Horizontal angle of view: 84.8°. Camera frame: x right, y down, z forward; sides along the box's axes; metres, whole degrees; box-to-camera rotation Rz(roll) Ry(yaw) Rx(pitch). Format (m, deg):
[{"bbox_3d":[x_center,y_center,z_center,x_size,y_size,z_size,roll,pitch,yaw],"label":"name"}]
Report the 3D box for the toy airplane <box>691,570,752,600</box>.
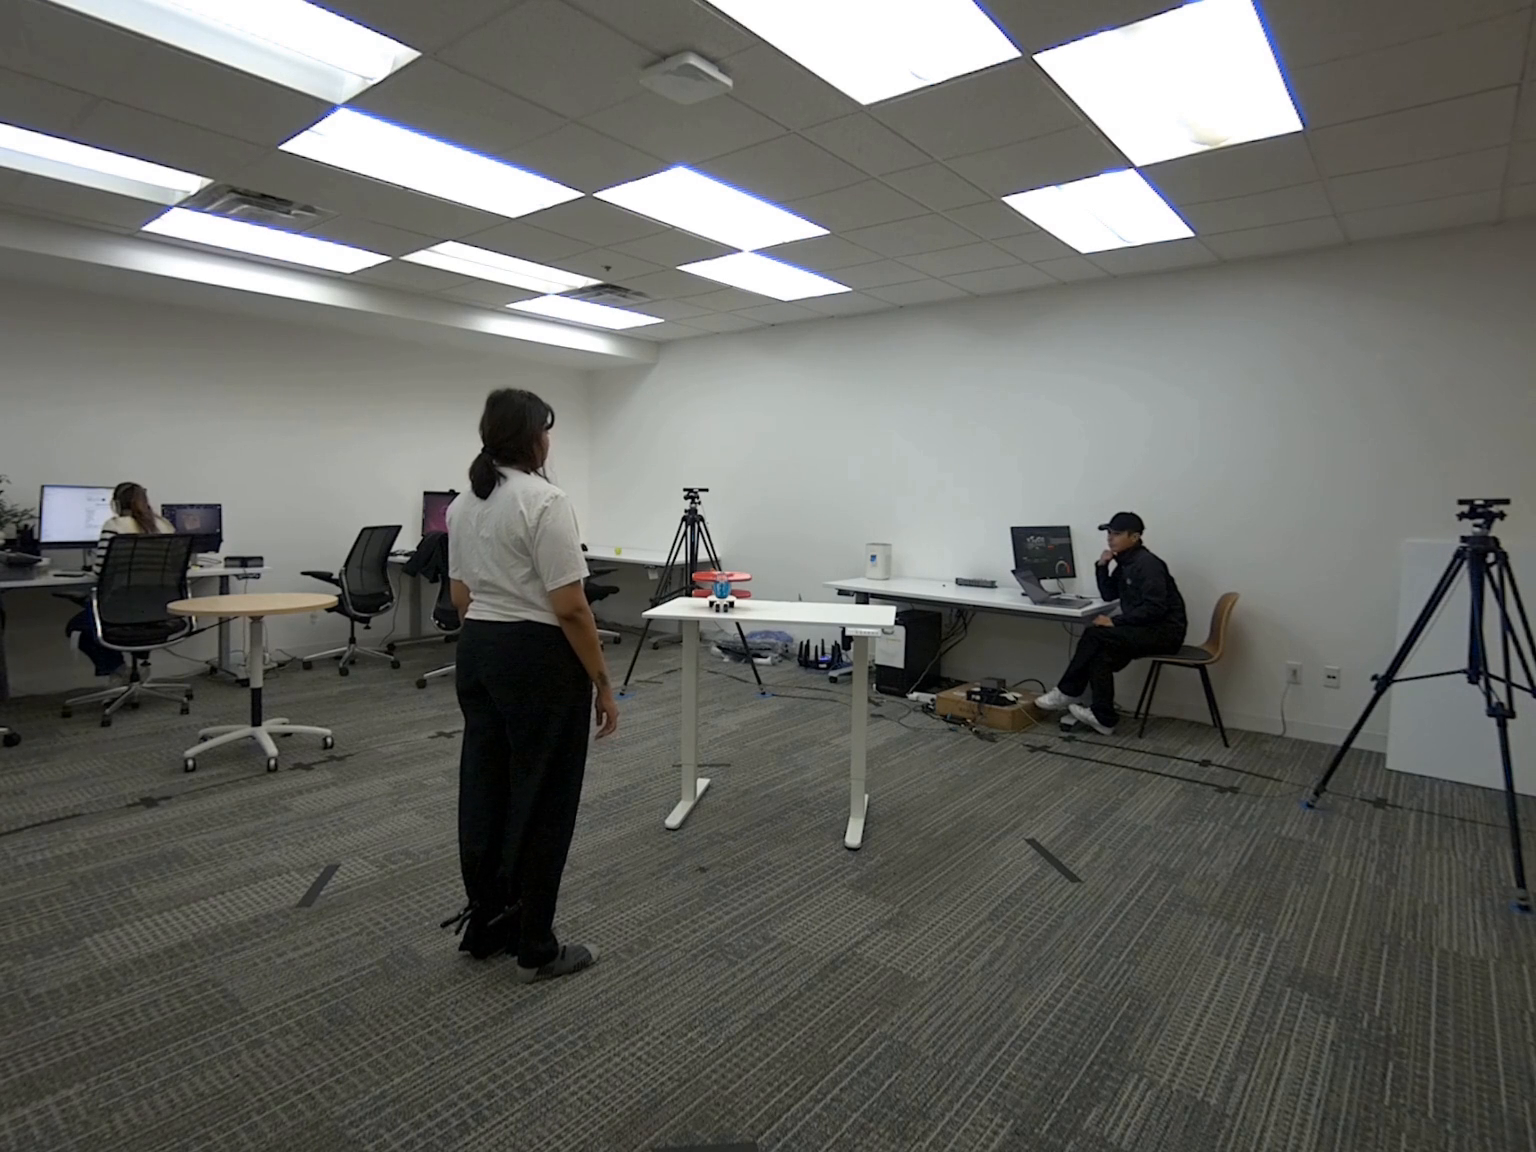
[{"bbox_3d":[-0.192,0.059,3.639,0.244,0.156,0.267,0,3,-29],"label":"toy airplane"}]
